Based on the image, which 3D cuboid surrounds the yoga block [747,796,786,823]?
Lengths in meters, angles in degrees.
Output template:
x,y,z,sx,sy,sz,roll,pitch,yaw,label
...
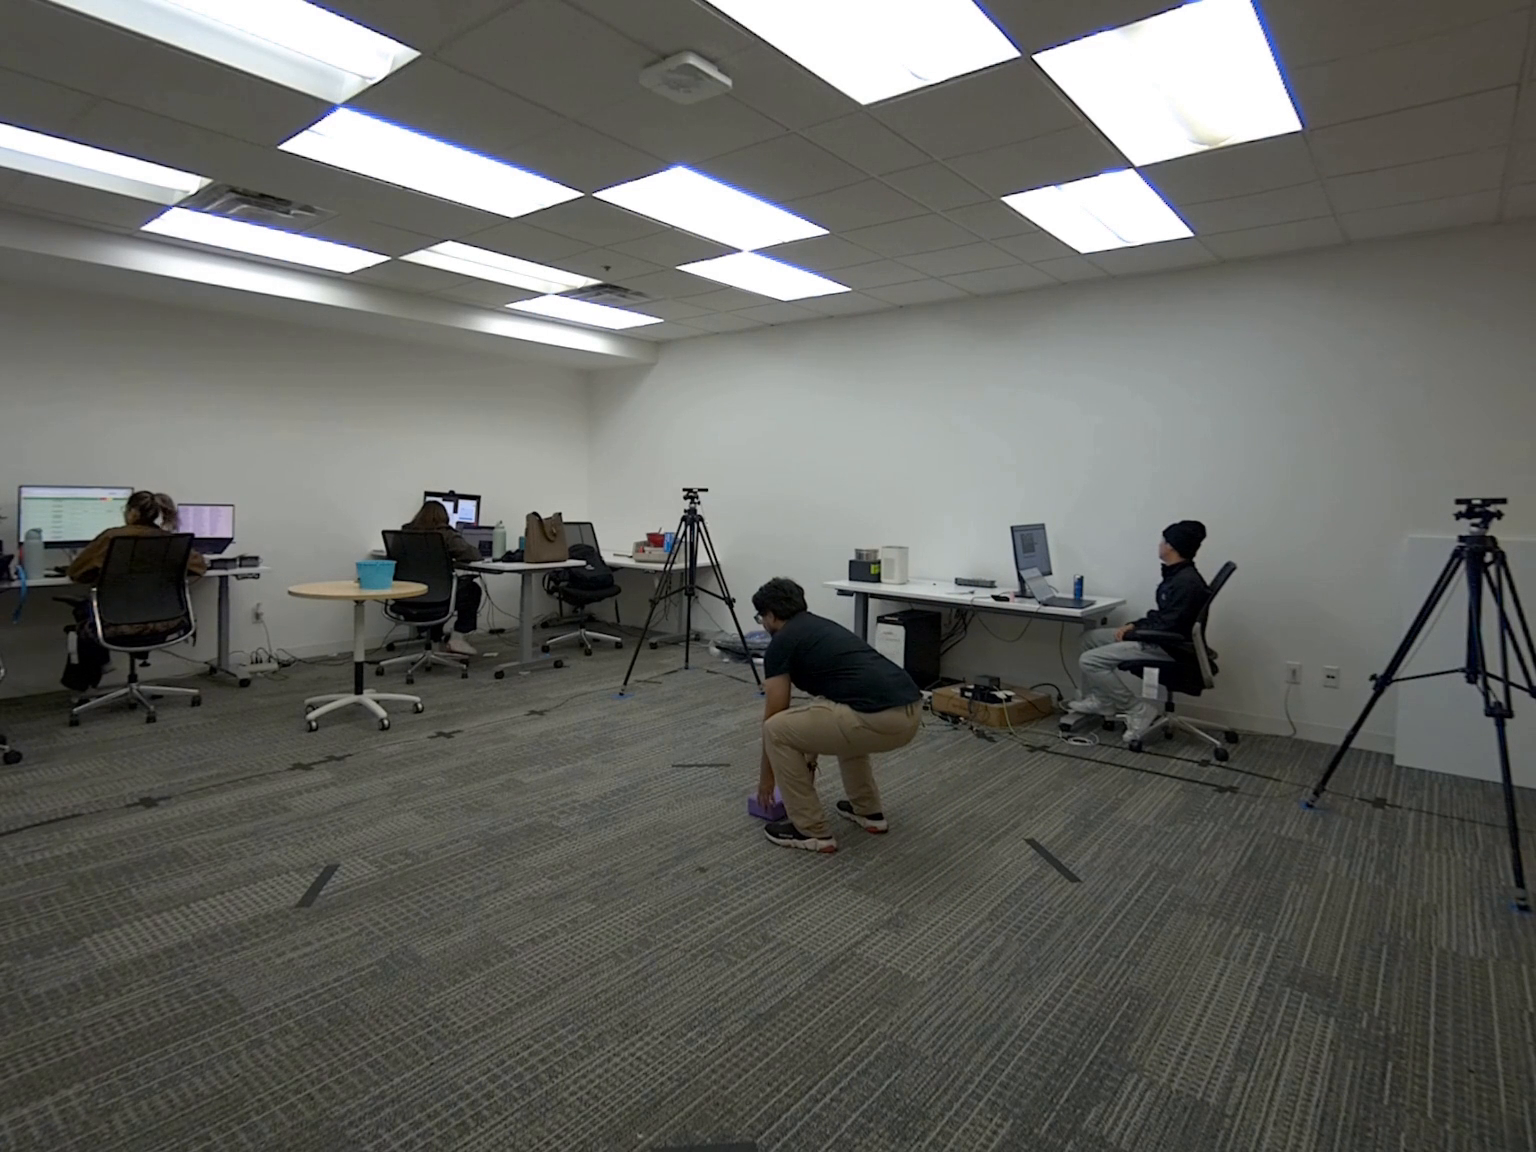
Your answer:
x,y,z,sx,sy,sz,roll,pitch,yaw,label
0.030,0.969,3.689,0.154,0.076,0.223,3,5,39,yoga block
